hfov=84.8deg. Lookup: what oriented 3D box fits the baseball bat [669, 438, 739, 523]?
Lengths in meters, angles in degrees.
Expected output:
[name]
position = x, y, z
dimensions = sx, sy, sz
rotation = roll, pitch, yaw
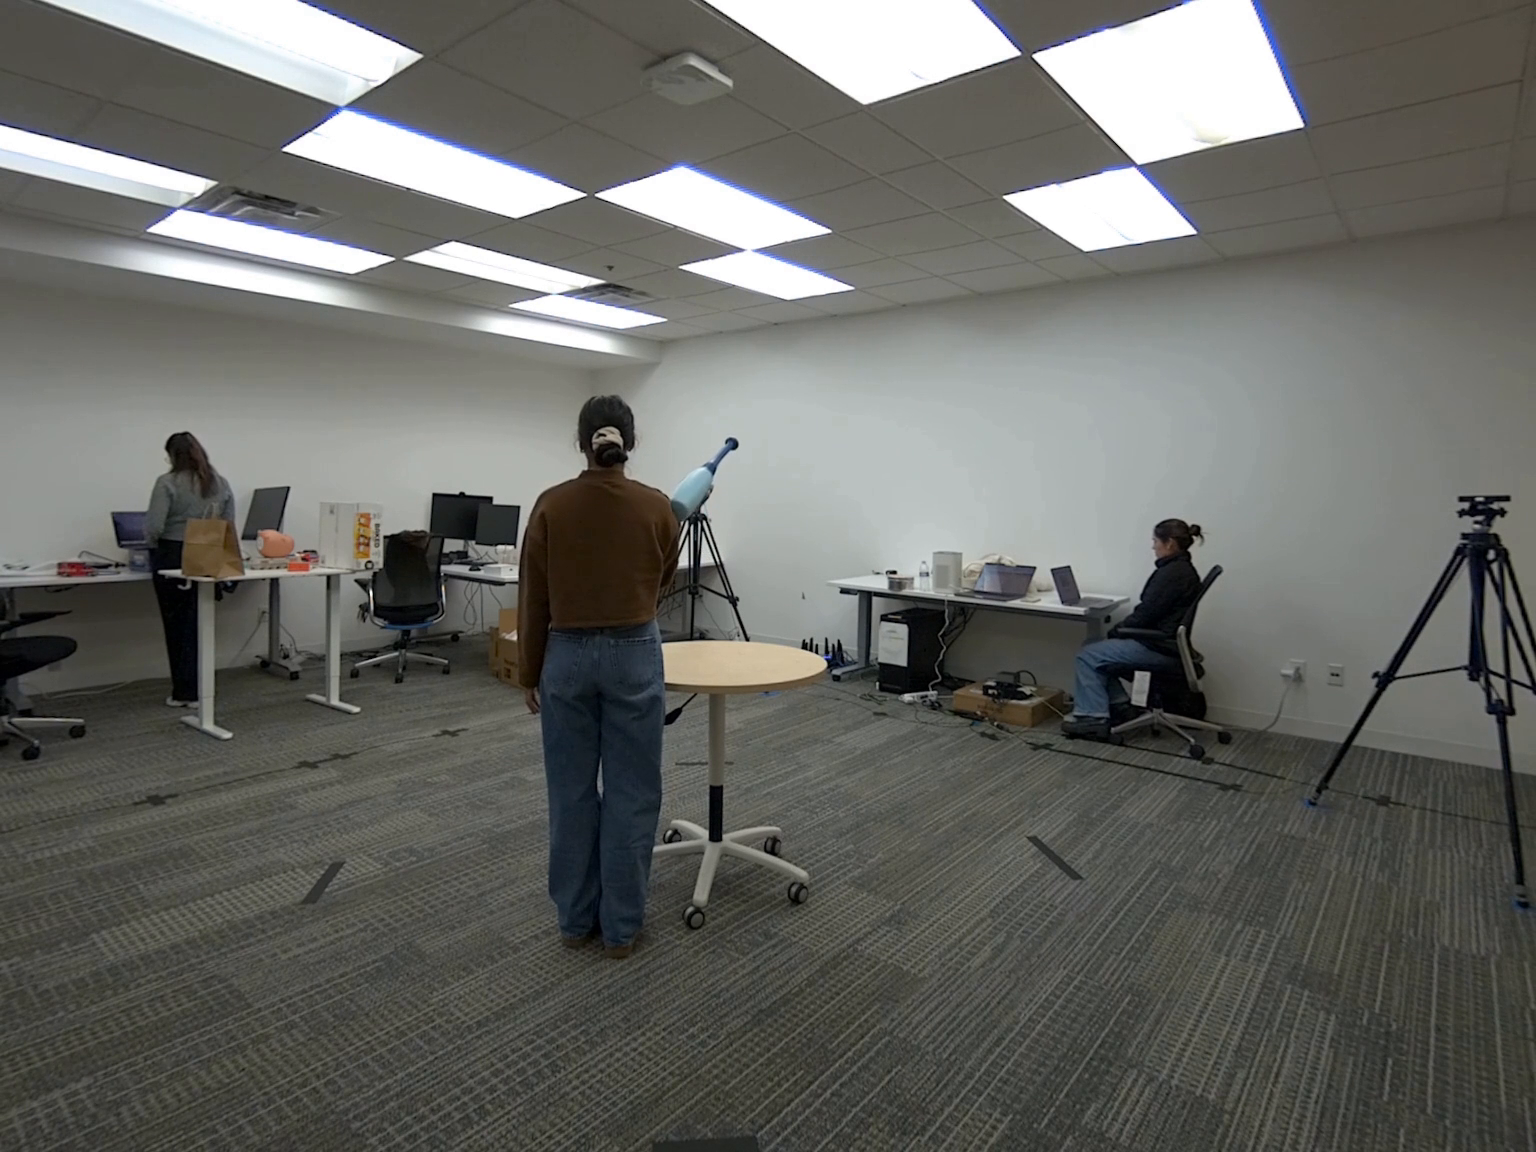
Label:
[baseball bat]
position = -0.216, -0.343, 2.837
dimensions = 0.091, 0.086, 0.548
rotation = 1, 32, 17
